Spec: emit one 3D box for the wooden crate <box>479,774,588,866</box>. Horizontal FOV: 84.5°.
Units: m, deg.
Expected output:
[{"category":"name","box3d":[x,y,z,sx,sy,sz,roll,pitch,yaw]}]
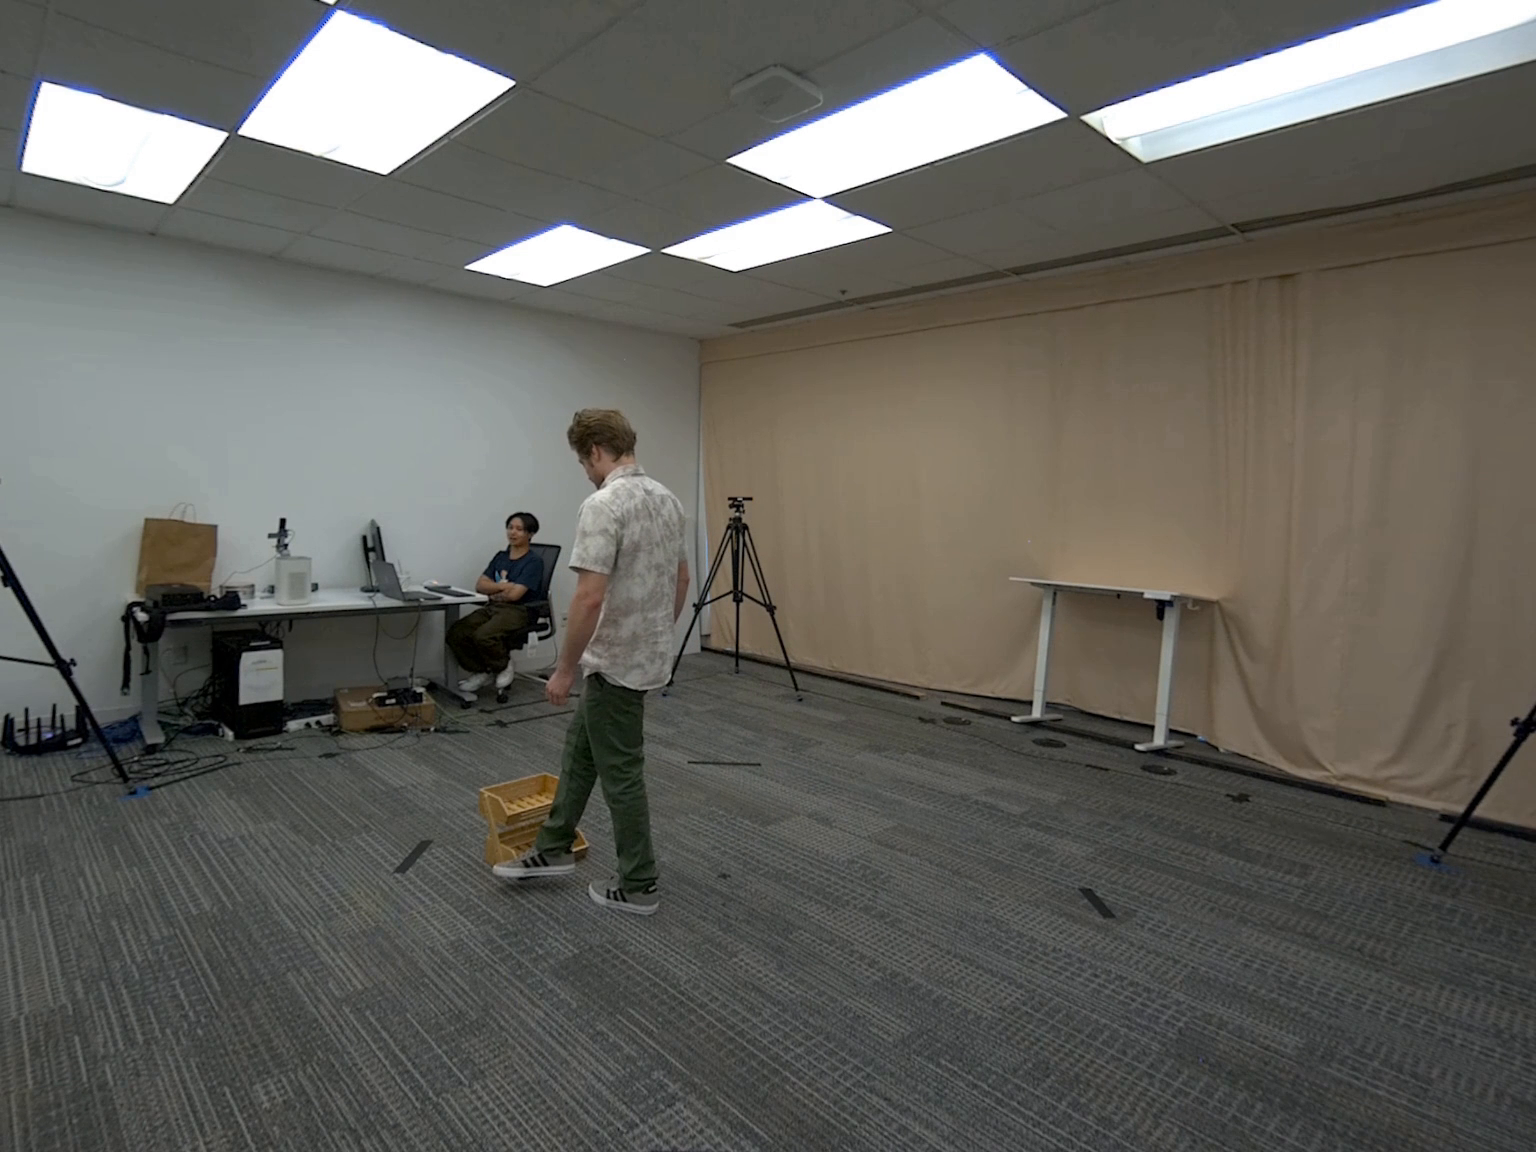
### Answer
[{"category":"wooden crate","box3d":[-0.905,0.945,3.230,0.309,0.273,0.317,4,5,42]}]
